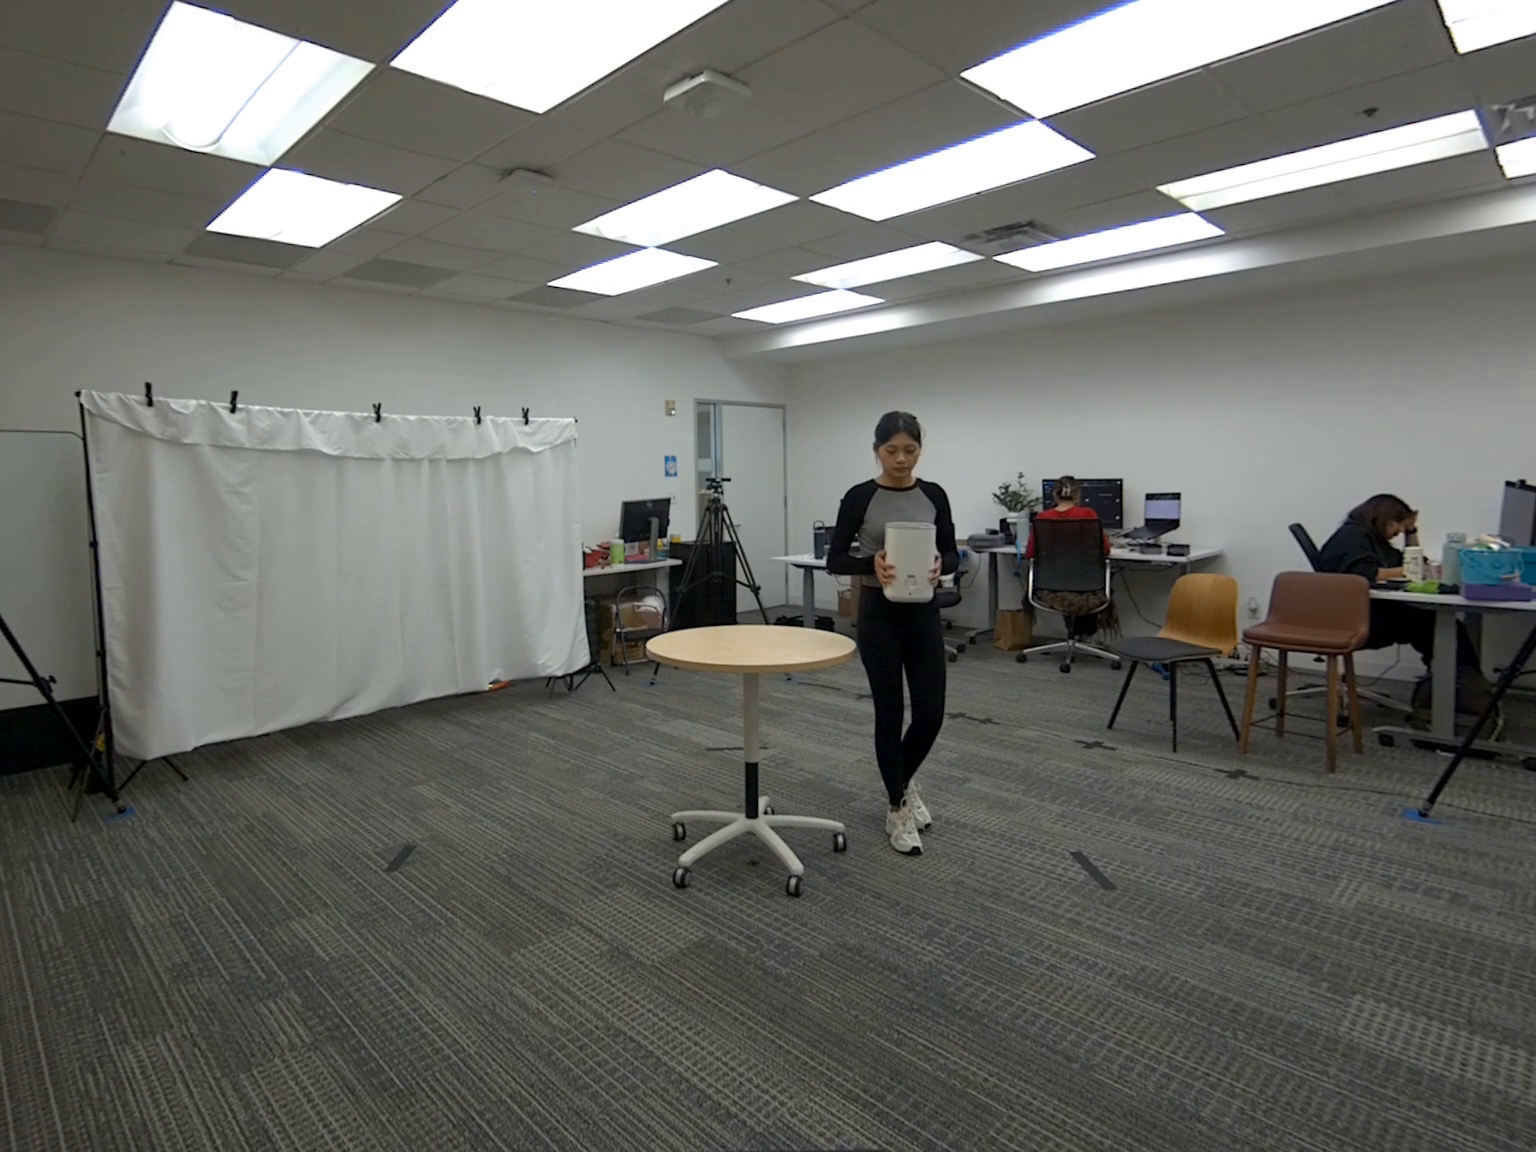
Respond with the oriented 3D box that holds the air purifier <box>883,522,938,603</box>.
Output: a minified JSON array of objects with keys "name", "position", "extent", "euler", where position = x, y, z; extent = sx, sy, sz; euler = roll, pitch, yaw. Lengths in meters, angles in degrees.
[{"name":"air purifier","position":[0.485,-0.046,3.020],"extent":[0.172,0.264,0.171],"euler":[1,7,5]}]
